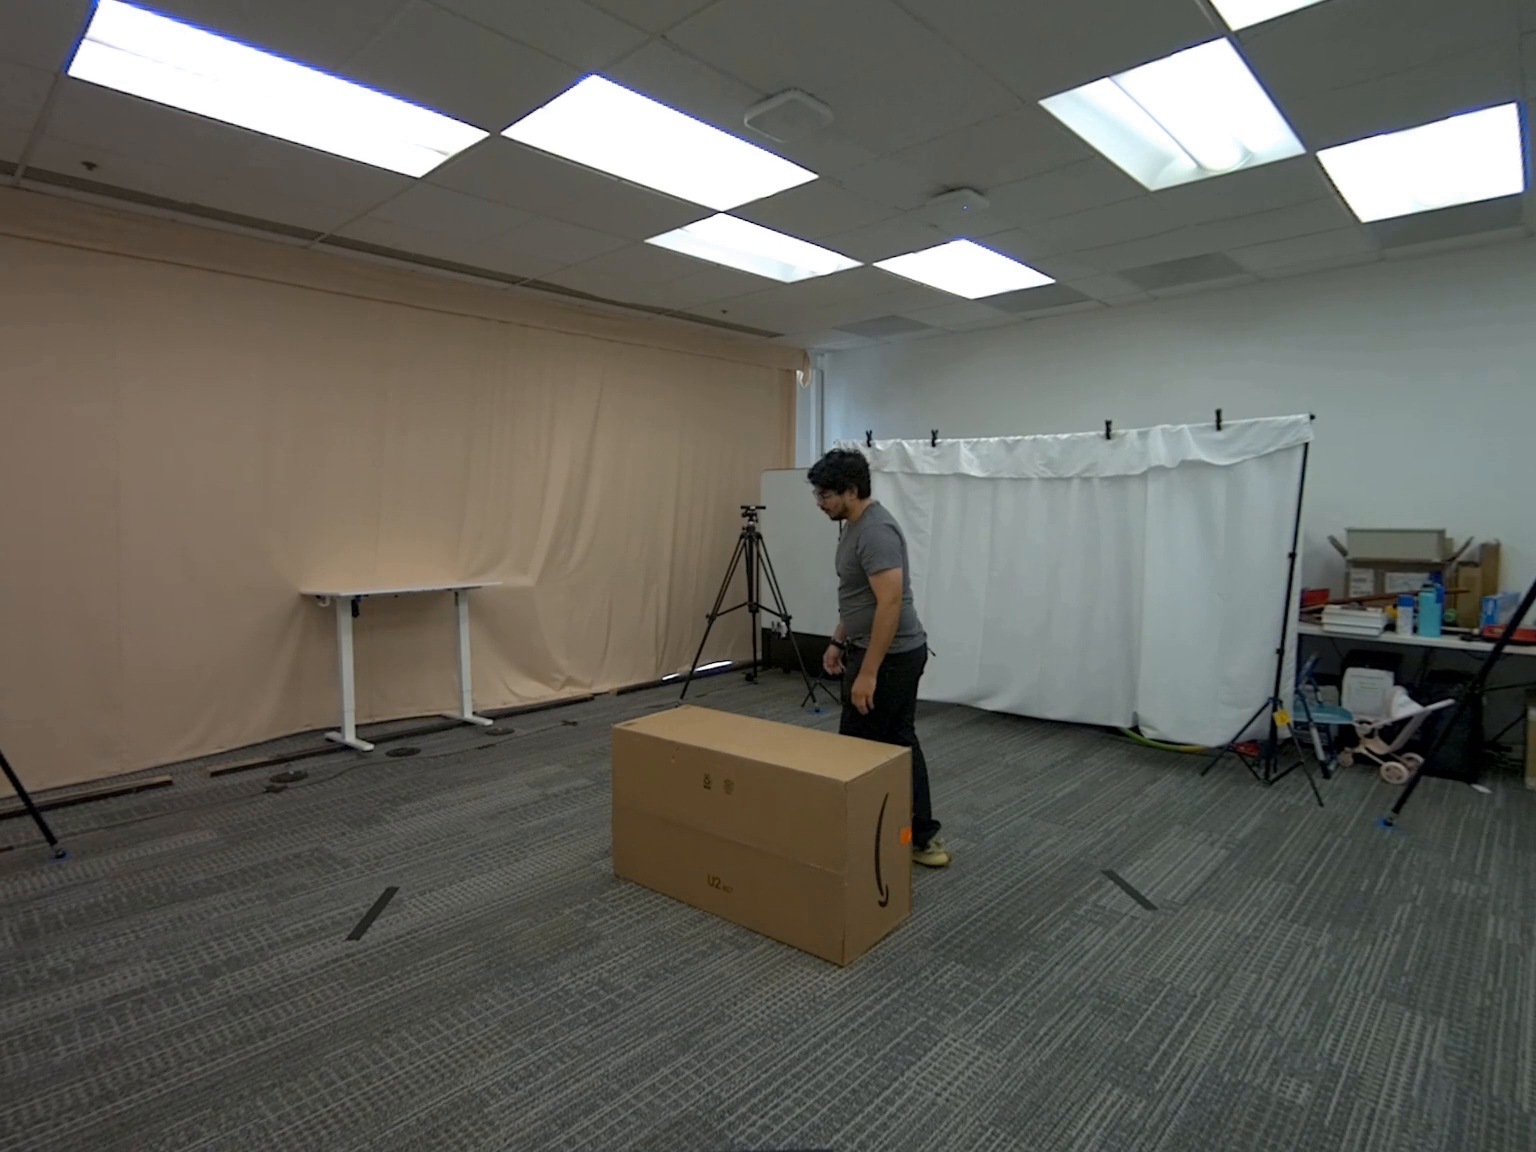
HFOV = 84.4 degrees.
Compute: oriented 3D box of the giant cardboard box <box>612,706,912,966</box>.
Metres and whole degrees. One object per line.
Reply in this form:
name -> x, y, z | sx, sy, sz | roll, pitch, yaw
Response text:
giant cardboard box -> -0.050, 0.851, 3.002 | 1.059, 0.576, 0.413 | 3, 4, 39
